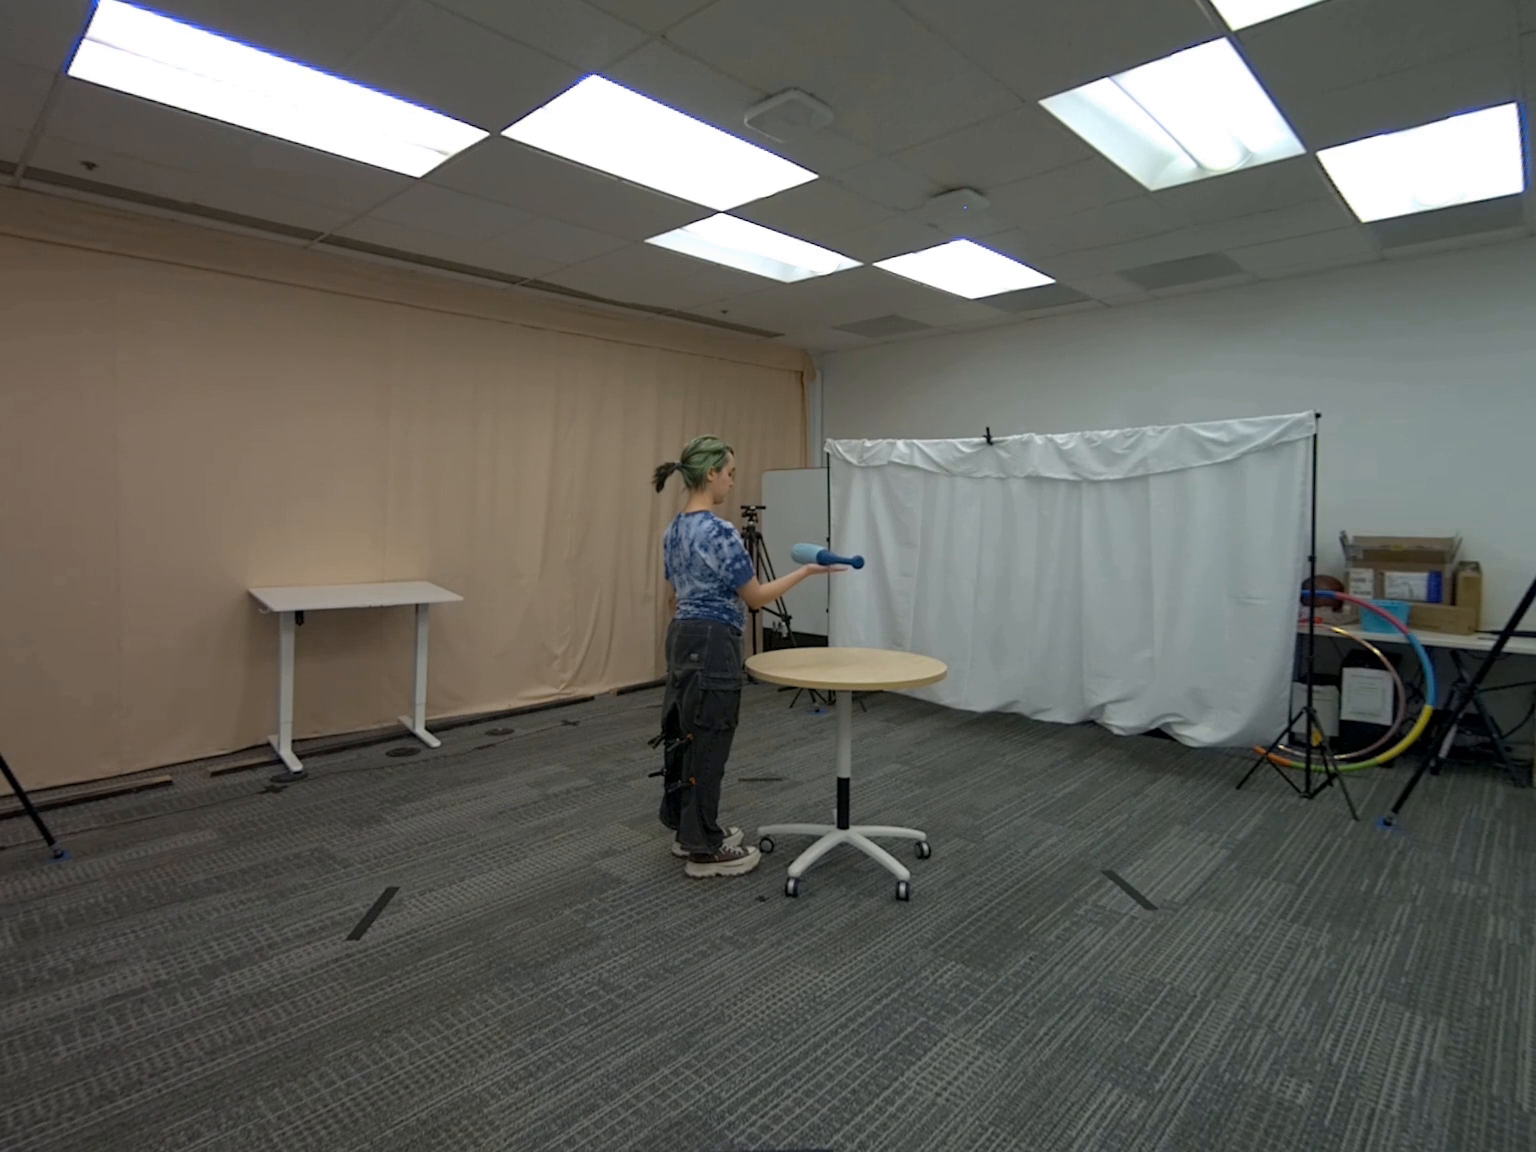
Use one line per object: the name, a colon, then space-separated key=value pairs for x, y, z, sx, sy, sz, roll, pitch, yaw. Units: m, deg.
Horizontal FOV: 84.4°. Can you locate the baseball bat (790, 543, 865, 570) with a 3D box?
baseball bat: x=0.233 y=-0.068 z=3.231 sx=0.087 sy=0.089 sz=0.555 roll=-1 pitch=6 yaw=-20
